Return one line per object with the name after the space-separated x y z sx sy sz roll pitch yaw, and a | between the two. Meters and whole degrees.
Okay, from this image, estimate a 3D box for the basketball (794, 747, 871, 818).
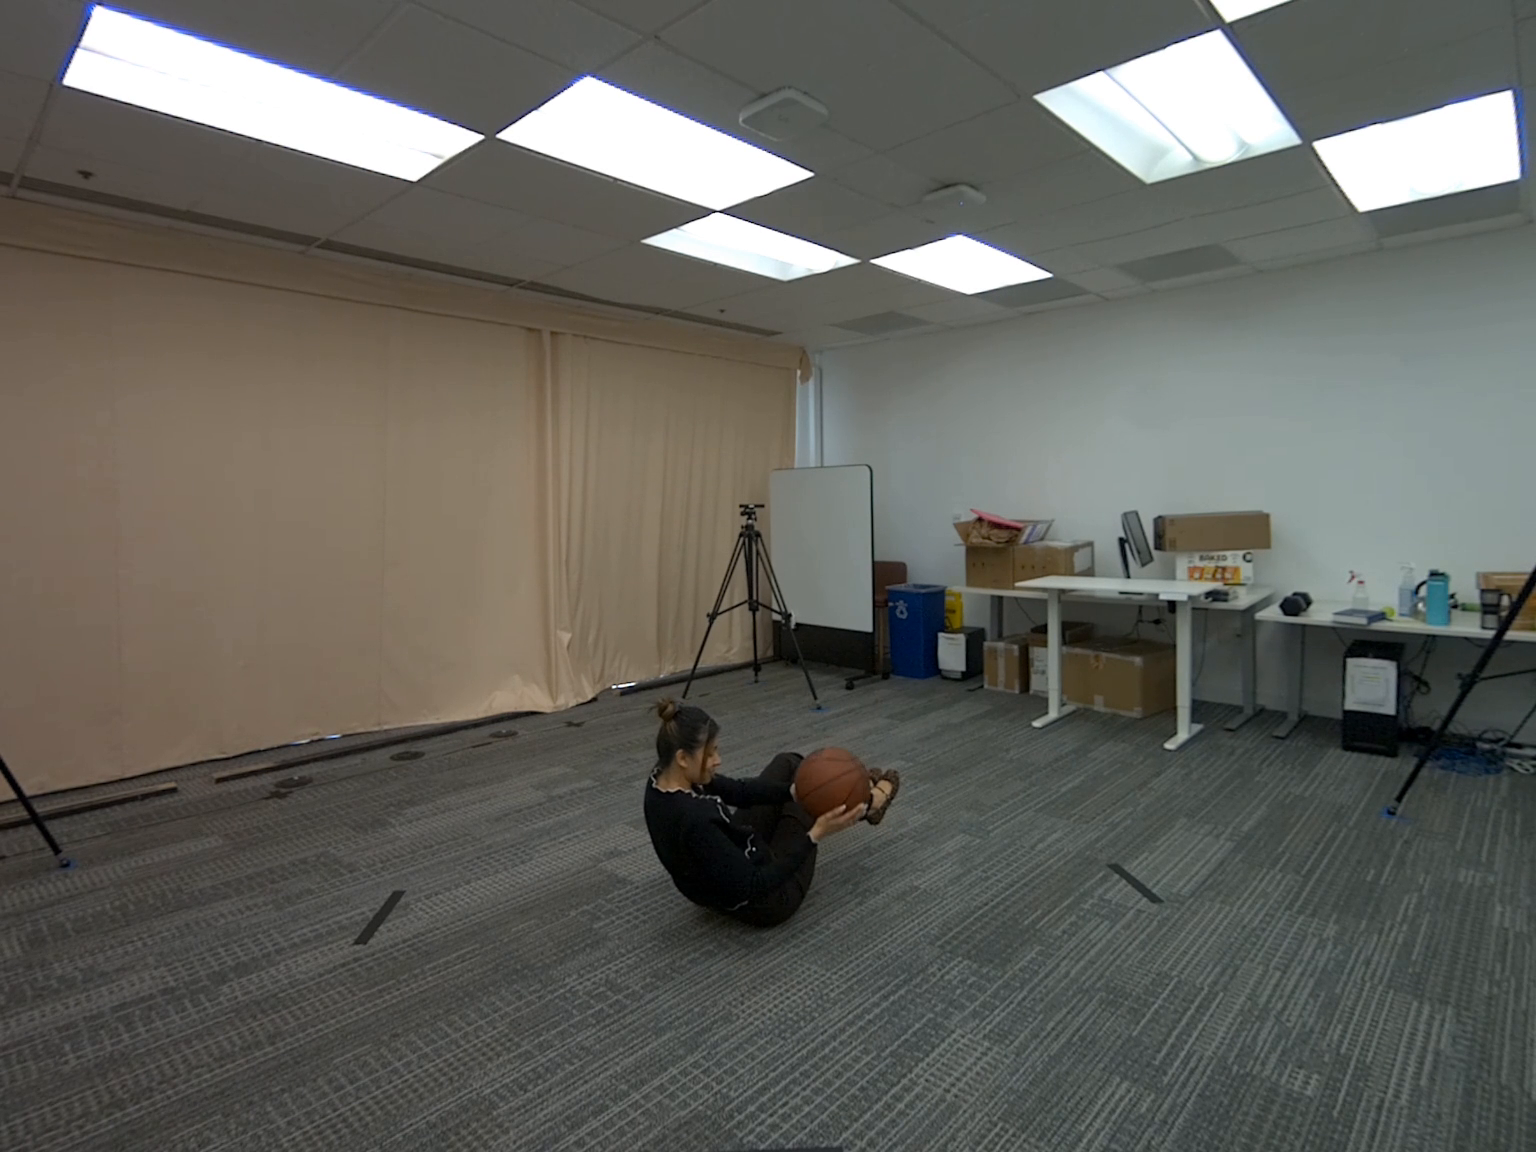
0.194 0.660 2.640 0.236 0.235 0.237 -1 4 -2 | basketball
